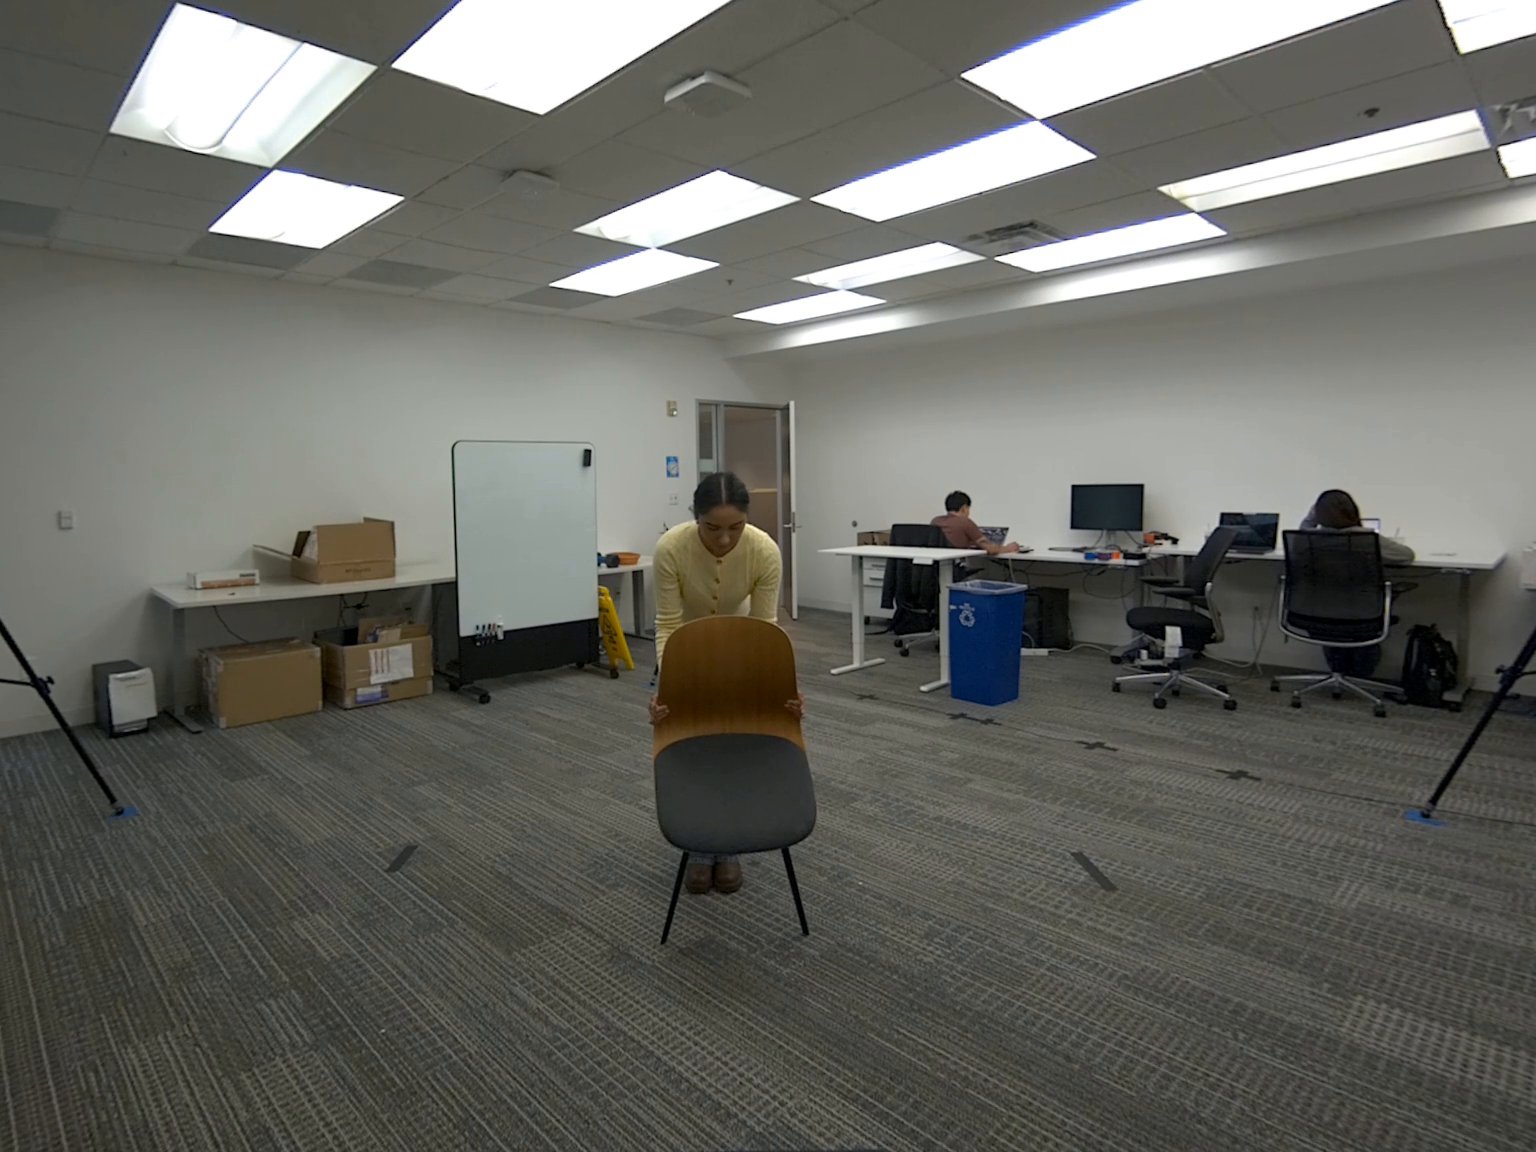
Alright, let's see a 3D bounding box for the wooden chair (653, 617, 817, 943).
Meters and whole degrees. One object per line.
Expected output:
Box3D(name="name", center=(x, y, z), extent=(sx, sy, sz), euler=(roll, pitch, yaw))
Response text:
Box3D(name="wooden chair", center=(-0.105, 0.633, 2.558), extent=(0.476, 0.859, 0.537), euler=(-1, 27, -6))
